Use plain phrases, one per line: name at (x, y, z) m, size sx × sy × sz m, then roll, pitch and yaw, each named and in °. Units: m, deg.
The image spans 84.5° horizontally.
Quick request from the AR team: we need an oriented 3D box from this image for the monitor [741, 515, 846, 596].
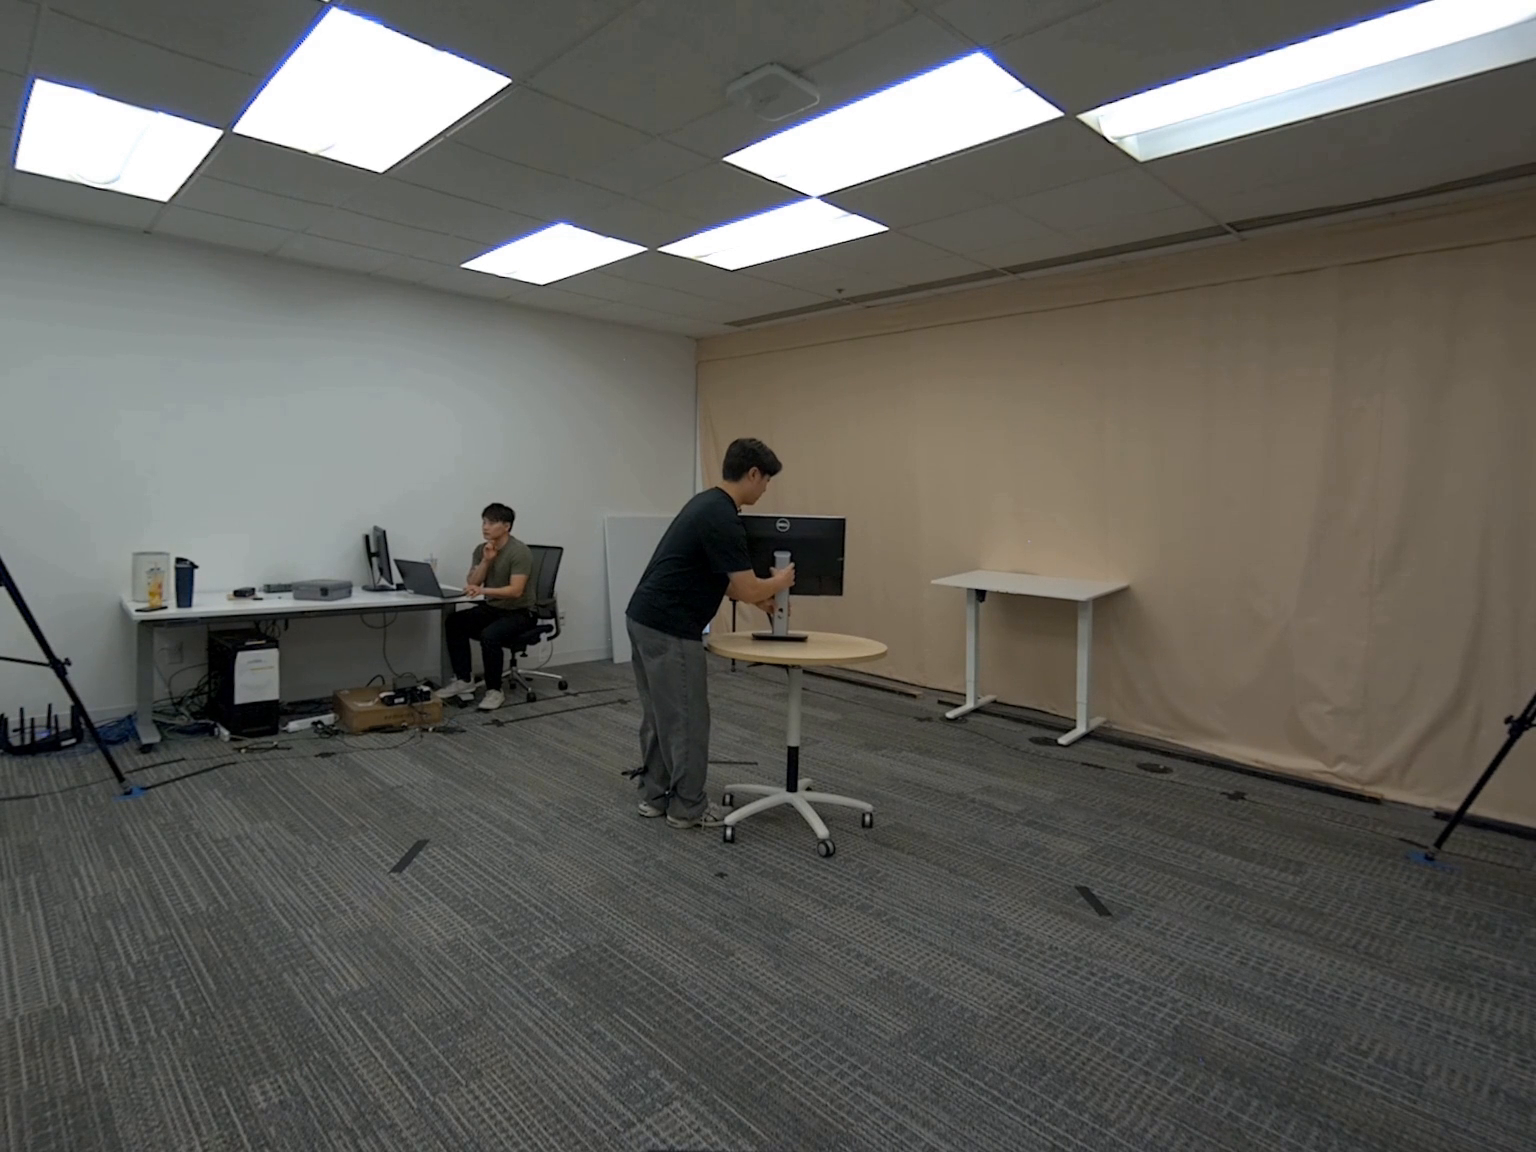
monitor at (0.052, 0.007, 3.735) m, size 0.564 × 0.567 × 0.221 m, roll 2°, pitch -3°, yaw 5°
